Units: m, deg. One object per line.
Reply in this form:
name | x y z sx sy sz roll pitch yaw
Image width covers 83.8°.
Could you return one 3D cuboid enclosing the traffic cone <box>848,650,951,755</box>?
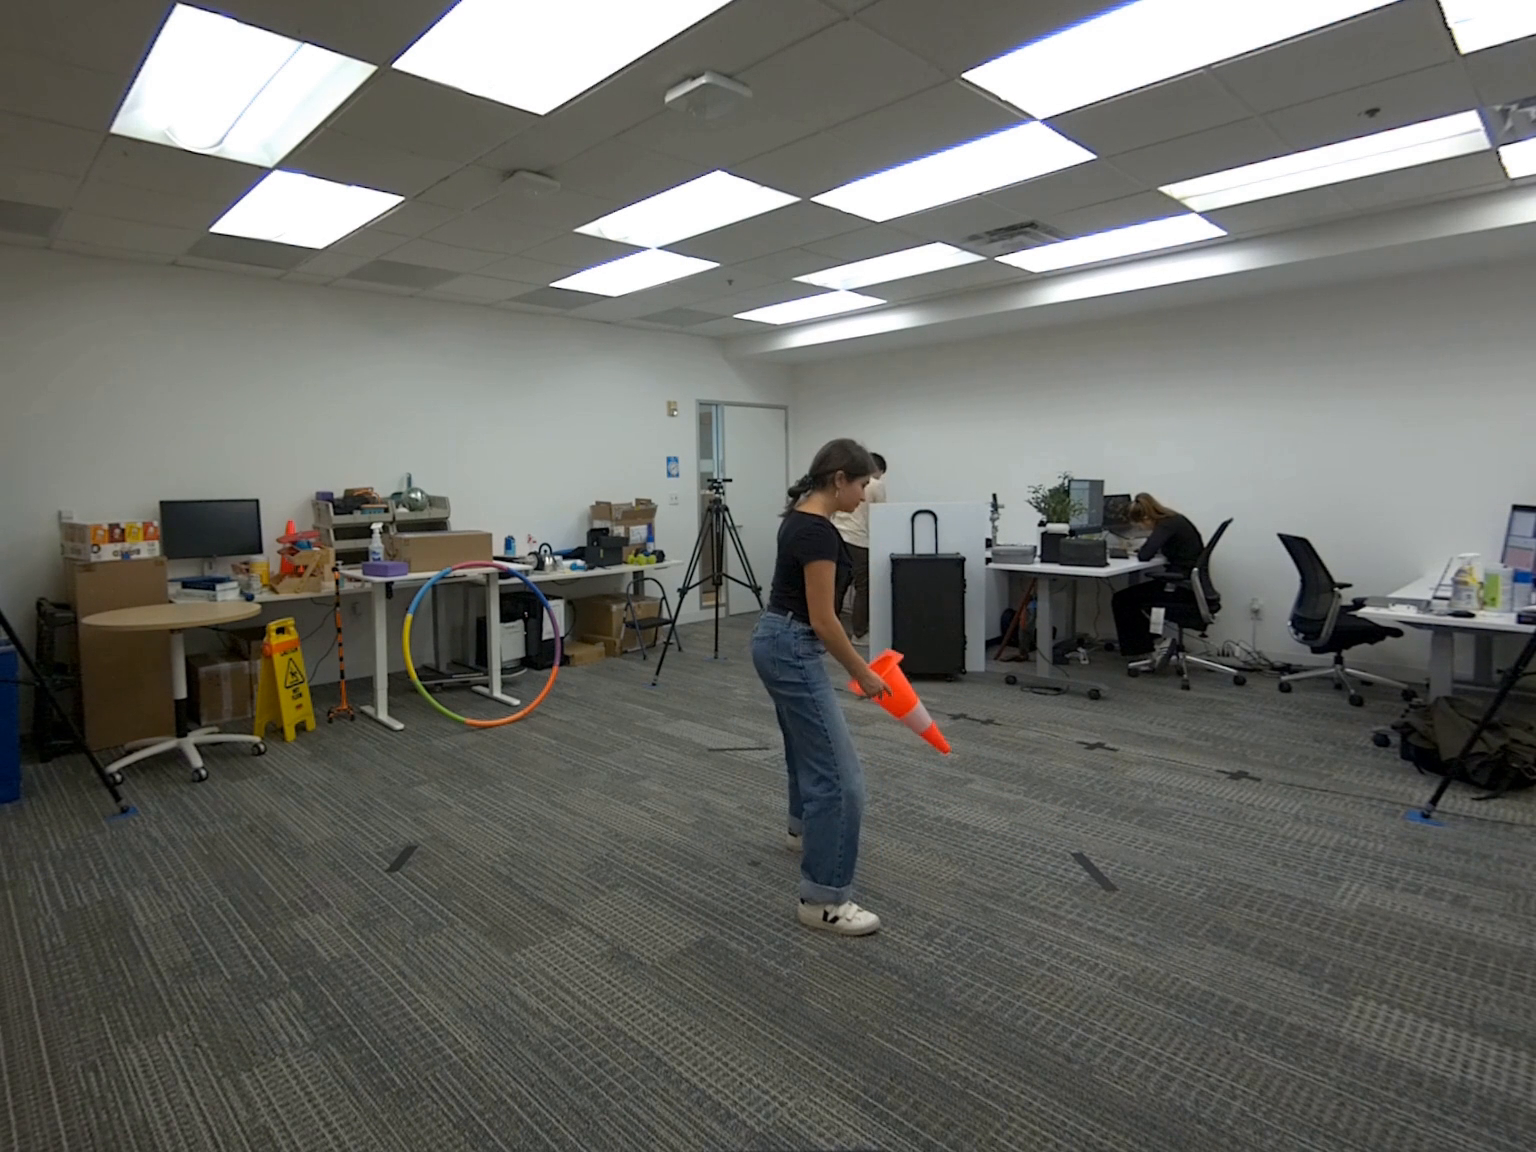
traffic cone | 0.498 0.471 2.920 0.205 0.380 0.205 -42 8 10
